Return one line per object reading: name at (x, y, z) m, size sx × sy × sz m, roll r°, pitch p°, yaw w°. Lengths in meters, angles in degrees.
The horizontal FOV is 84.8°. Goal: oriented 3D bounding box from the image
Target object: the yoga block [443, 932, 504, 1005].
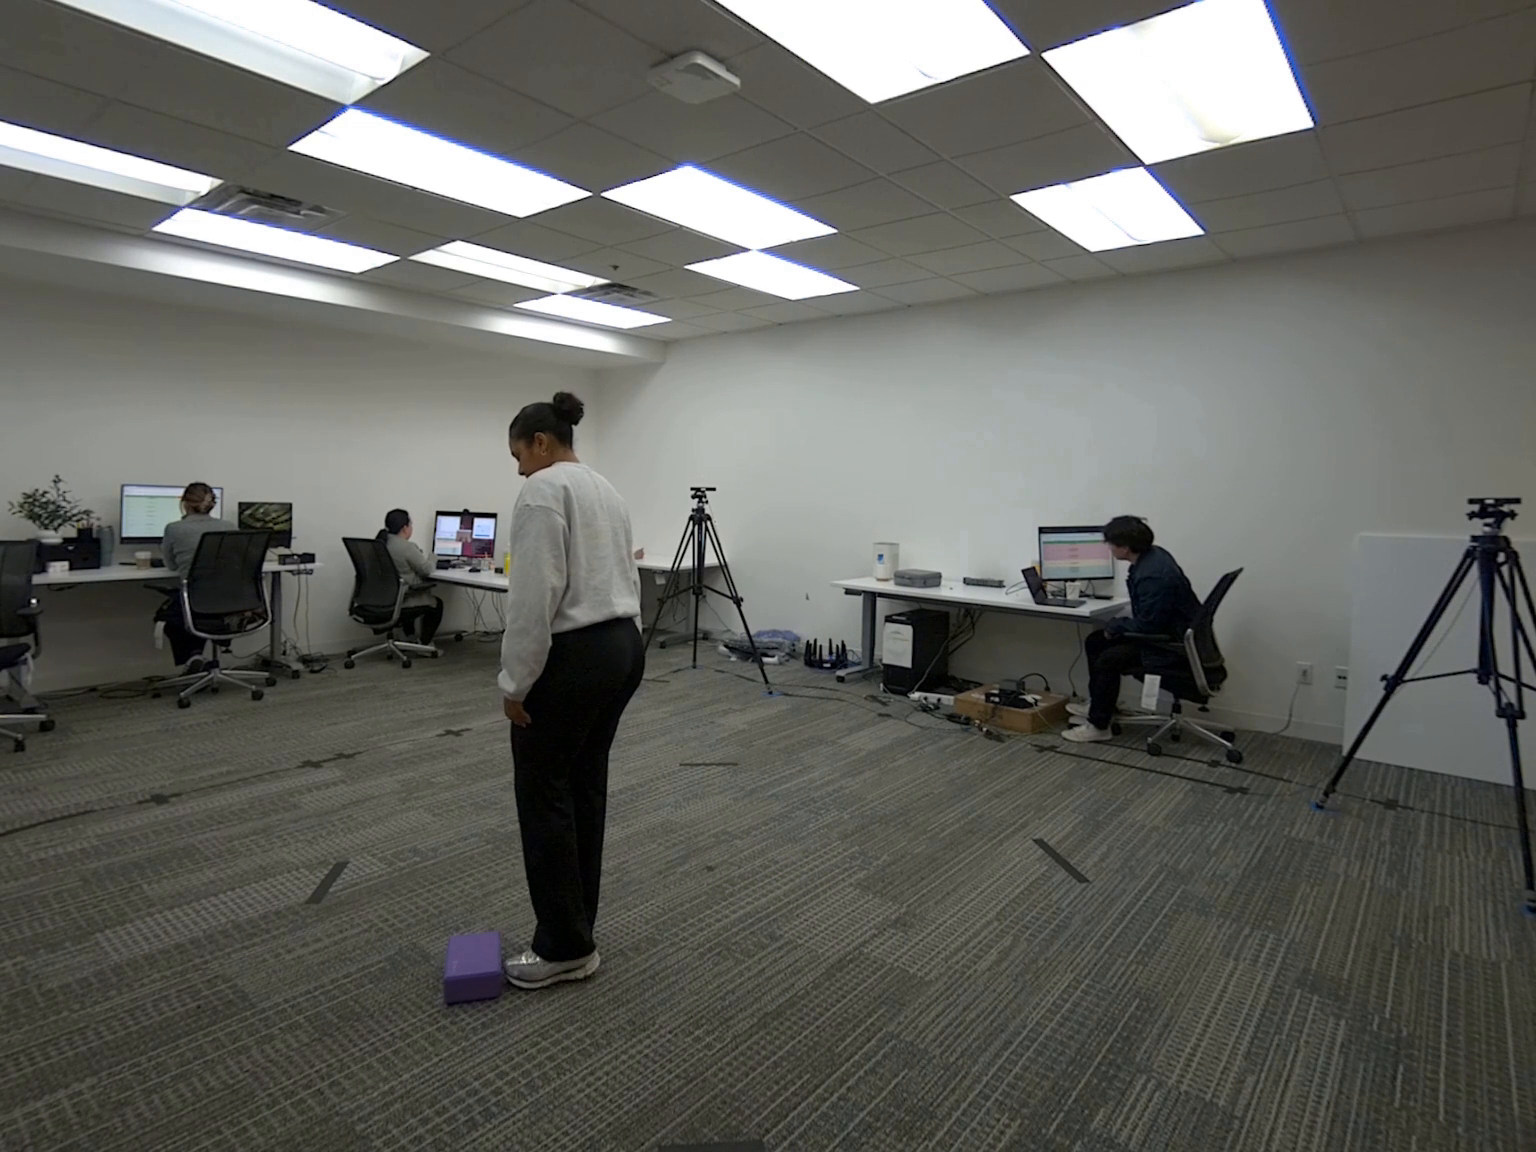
yoga block at (-0.833, 1.093, 2.386) m, size 0.146 × 0.076 × 0.234 m, roll -1°, pitch 5°, yaw -17°
